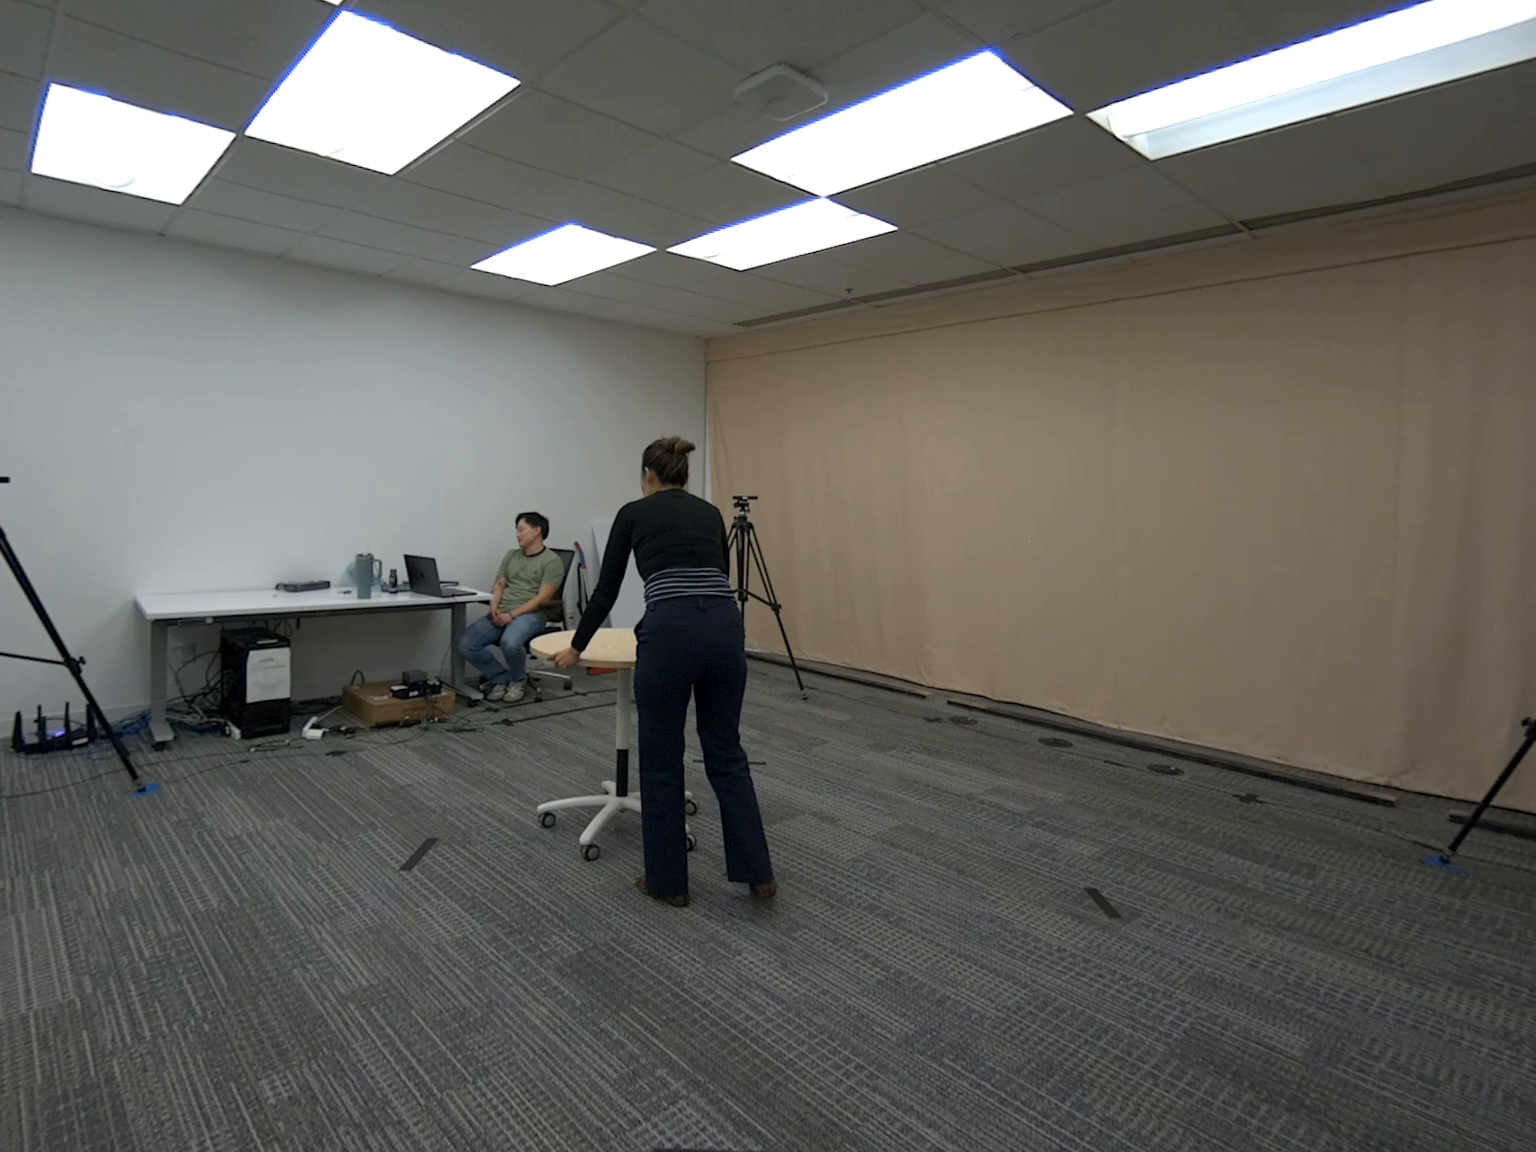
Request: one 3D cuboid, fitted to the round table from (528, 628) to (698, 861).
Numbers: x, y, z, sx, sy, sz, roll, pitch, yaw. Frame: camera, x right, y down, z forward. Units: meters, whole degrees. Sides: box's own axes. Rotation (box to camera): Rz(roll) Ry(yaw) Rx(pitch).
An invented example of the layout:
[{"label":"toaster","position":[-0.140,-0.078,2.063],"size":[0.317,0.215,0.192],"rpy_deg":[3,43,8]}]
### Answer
[{"label":"round table","position":[-0.601,0.670,3.487],"size":[0.763,0.792,0.767],"rpy_deg":[1,4,-1]}]
